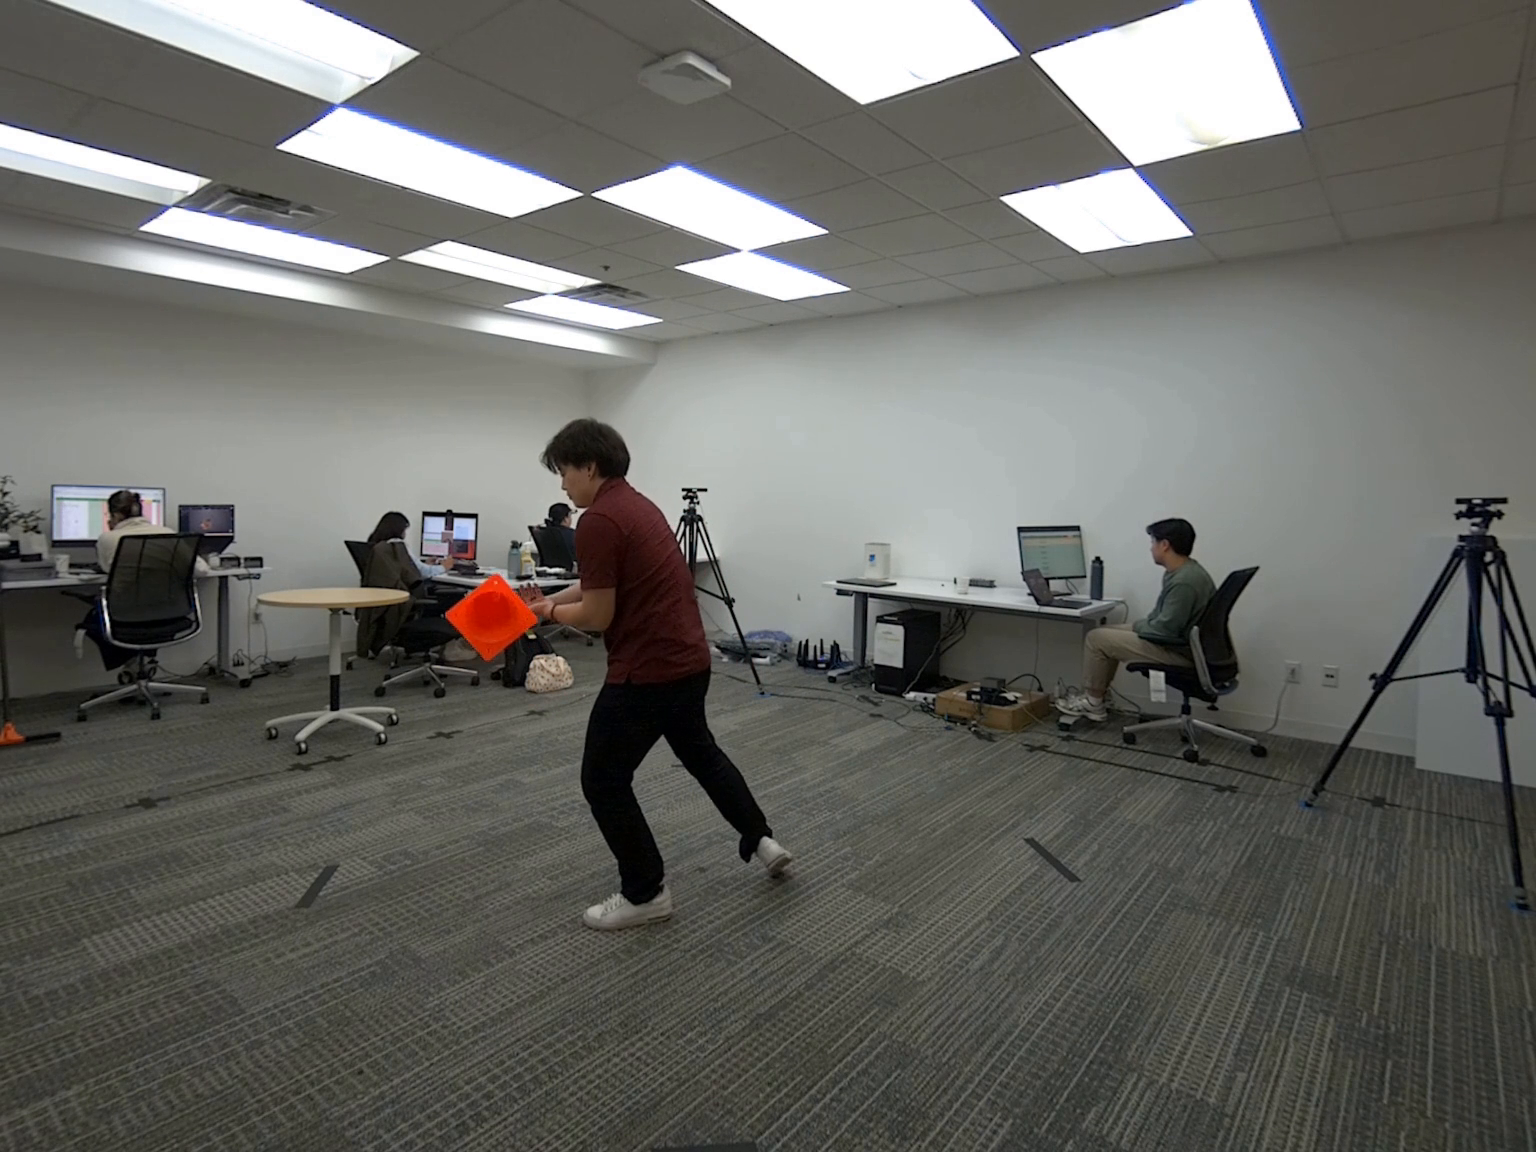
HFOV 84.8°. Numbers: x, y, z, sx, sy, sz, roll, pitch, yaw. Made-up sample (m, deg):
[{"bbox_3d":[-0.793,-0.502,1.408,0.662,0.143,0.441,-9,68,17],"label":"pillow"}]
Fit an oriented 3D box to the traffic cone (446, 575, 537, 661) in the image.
[{"bbox_3d":[-0.900,0.098,2.747,0.204,0.199,0.393,-41,18,-10],"label":"traffic cone"}]
